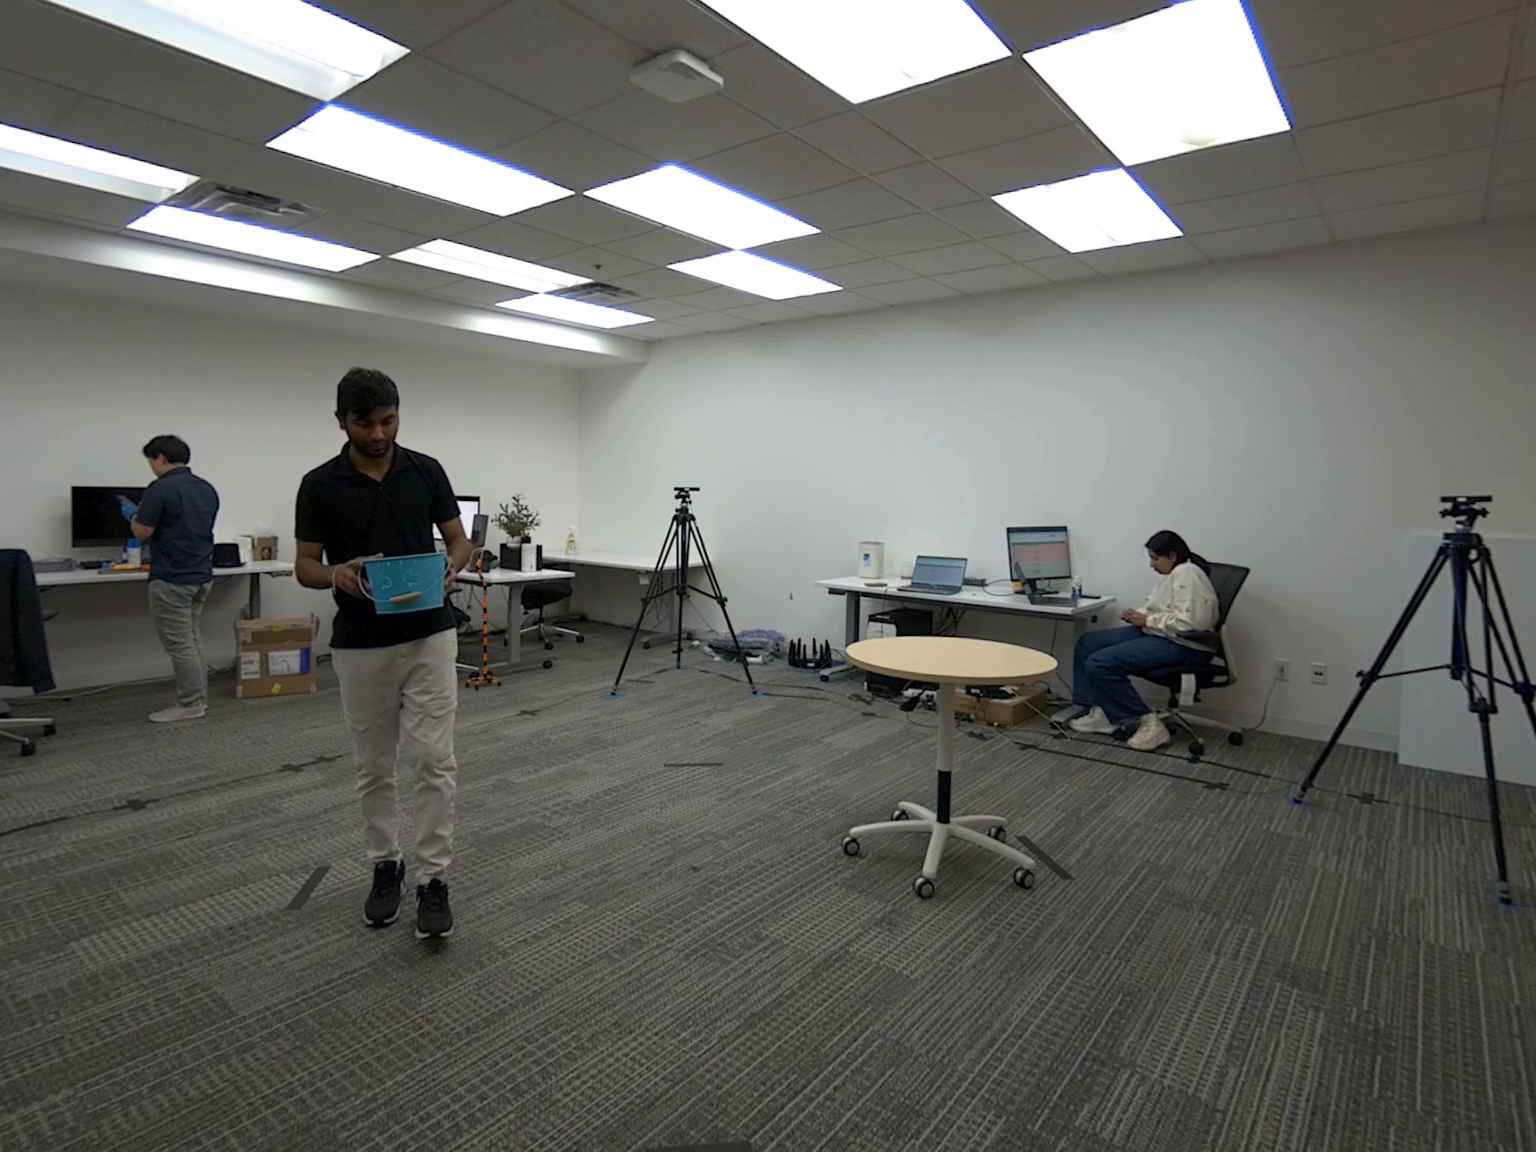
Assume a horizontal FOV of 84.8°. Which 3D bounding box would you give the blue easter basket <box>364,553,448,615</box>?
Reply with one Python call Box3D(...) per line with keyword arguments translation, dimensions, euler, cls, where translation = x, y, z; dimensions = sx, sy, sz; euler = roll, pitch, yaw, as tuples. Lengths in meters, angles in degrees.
Box3D(translation=(-1.049, 0.022, 2.403), dimensions=(0.243, 0.156, 0.244), euler=(-4, 2, -2), cls="blue easter basket")
